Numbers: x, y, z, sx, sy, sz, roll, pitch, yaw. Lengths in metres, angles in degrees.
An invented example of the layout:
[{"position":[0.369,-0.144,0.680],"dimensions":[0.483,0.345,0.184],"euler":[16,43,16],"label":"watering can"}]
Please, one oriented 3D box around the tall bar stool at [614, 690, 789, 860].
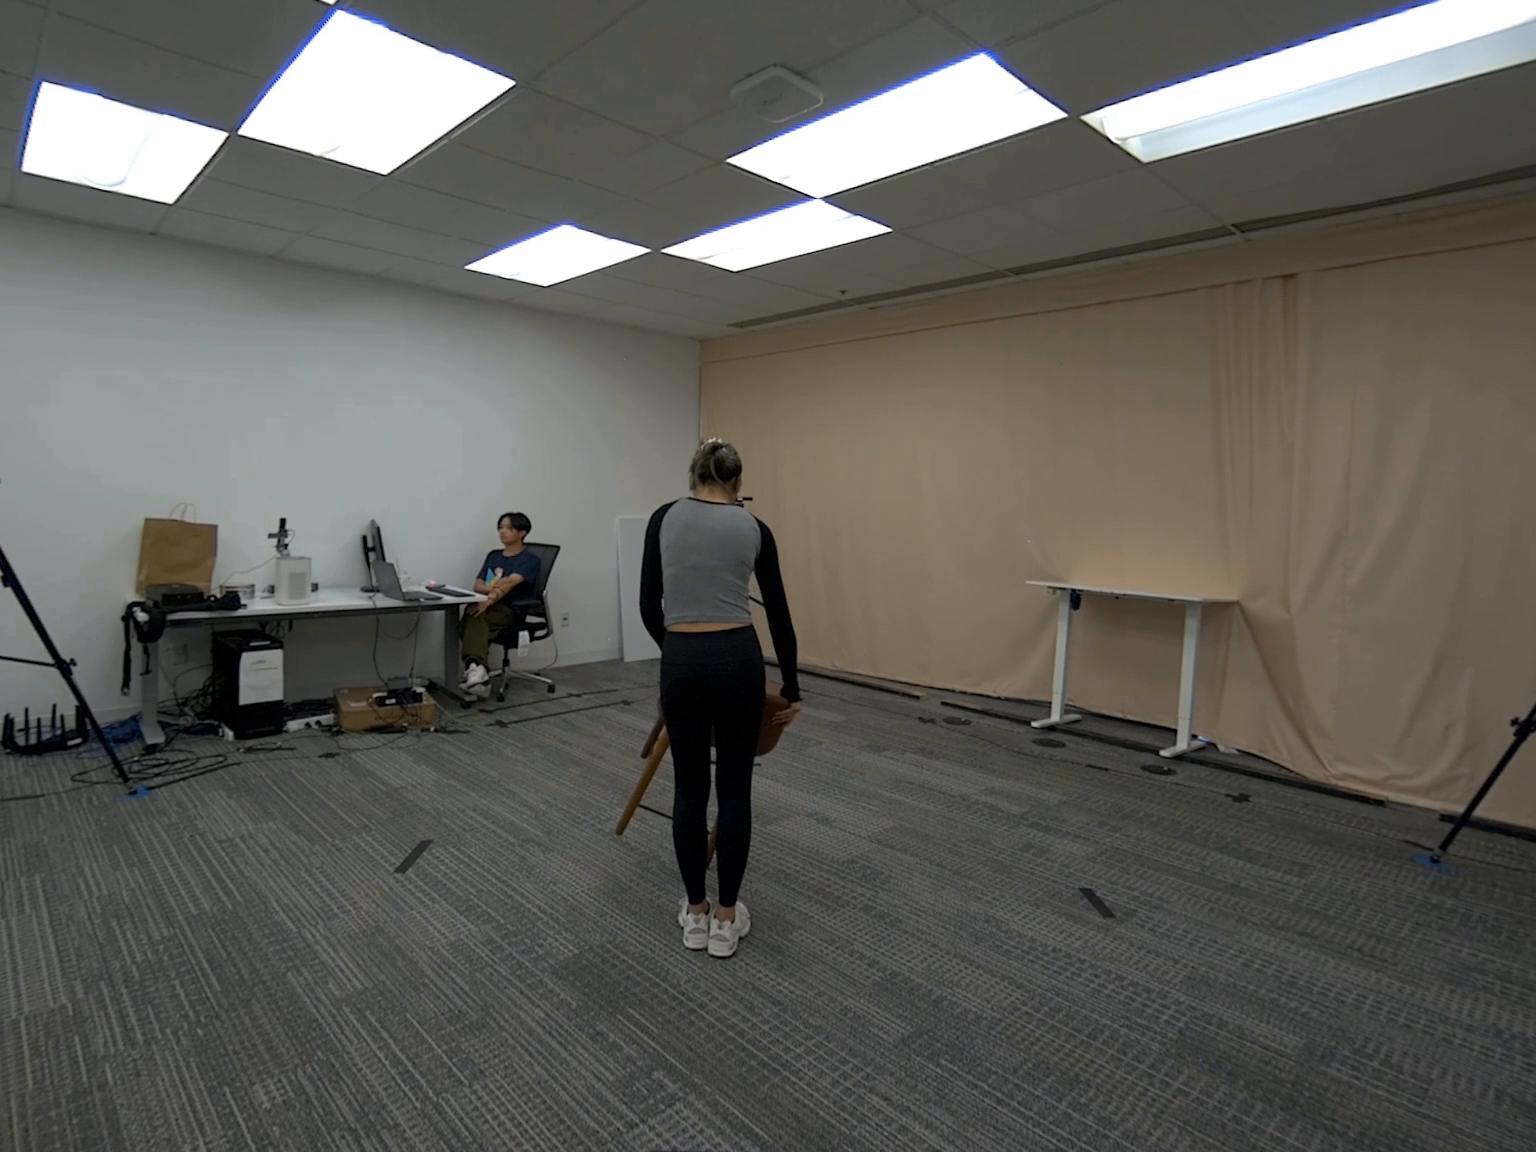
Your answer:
[{"position":[-0.231,0.594,3.138],"dimensions":[0.456,0.881,0.472],"euler":[23,30,-1],"label":"tall bar stool"}]
